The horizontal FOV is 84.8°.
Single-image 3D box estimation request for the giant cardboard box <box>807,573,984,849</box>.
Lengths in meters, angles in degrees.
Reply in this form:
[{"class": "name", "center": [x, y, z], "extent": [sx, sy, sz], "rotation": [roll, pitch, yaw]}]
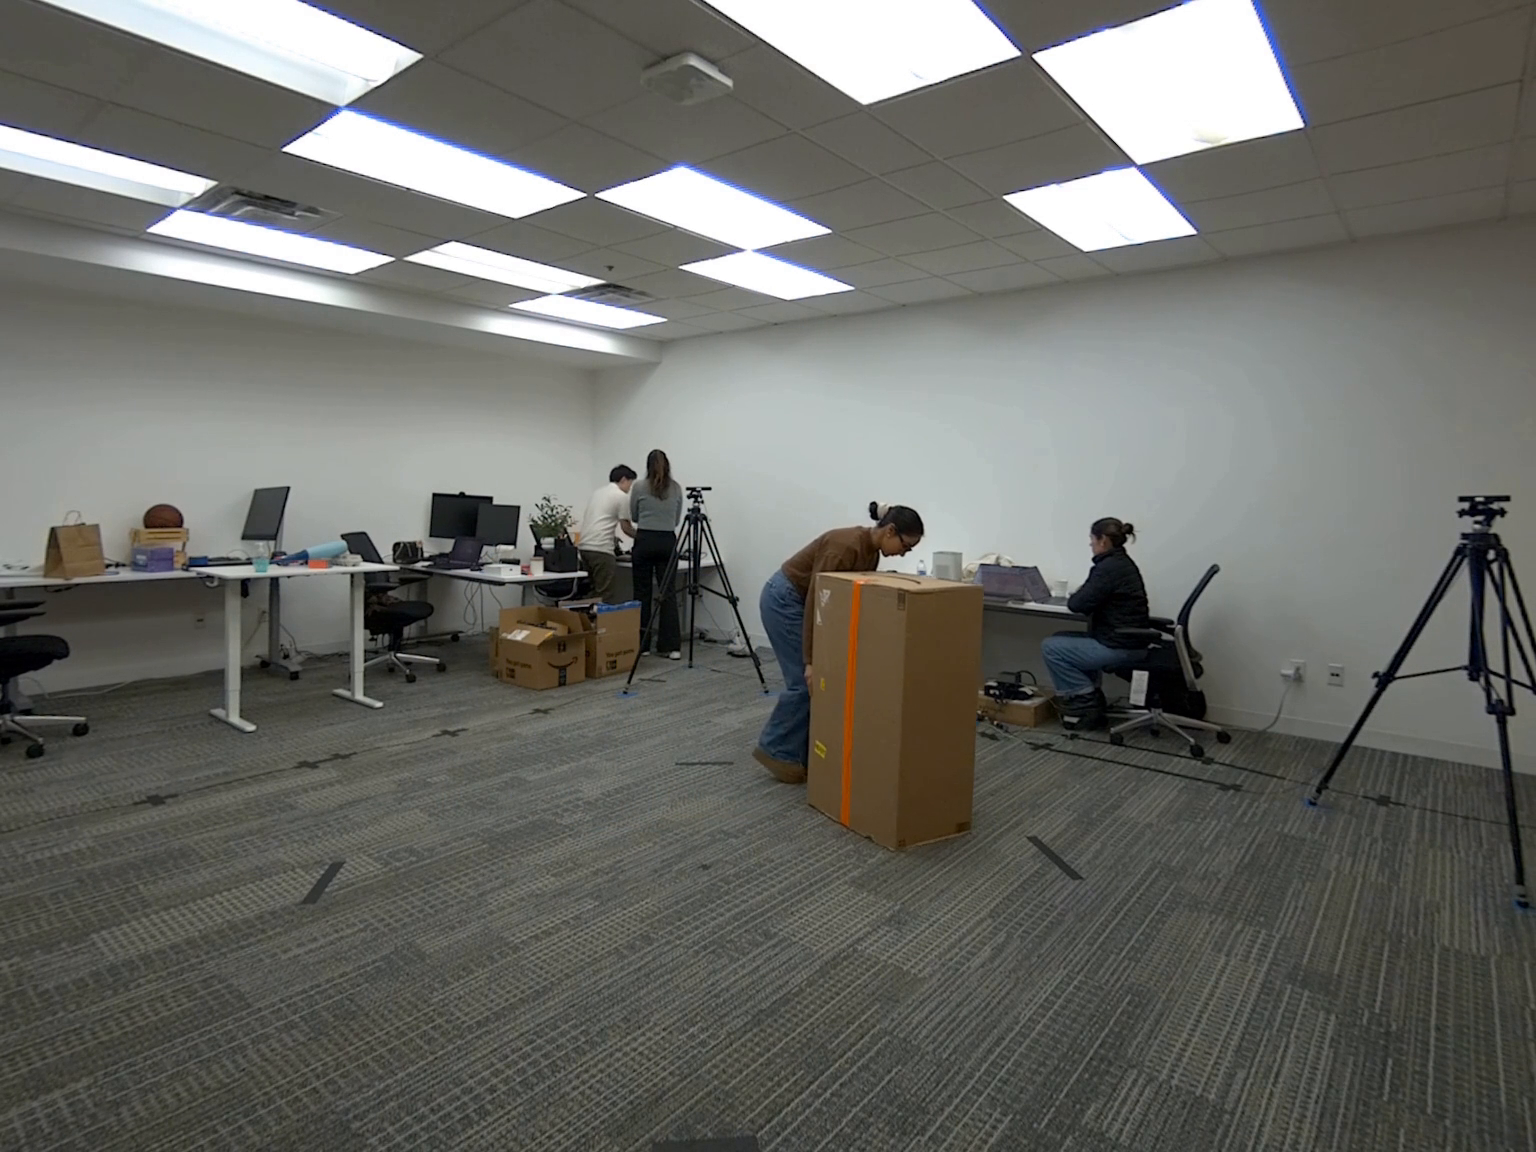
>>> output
[{"class": "giant cardboard box", "center": [0.513, 0.523, 3.594], "extent": [0.414, 1.022, 0.596], "rotation": [0, 5, -33]}]
